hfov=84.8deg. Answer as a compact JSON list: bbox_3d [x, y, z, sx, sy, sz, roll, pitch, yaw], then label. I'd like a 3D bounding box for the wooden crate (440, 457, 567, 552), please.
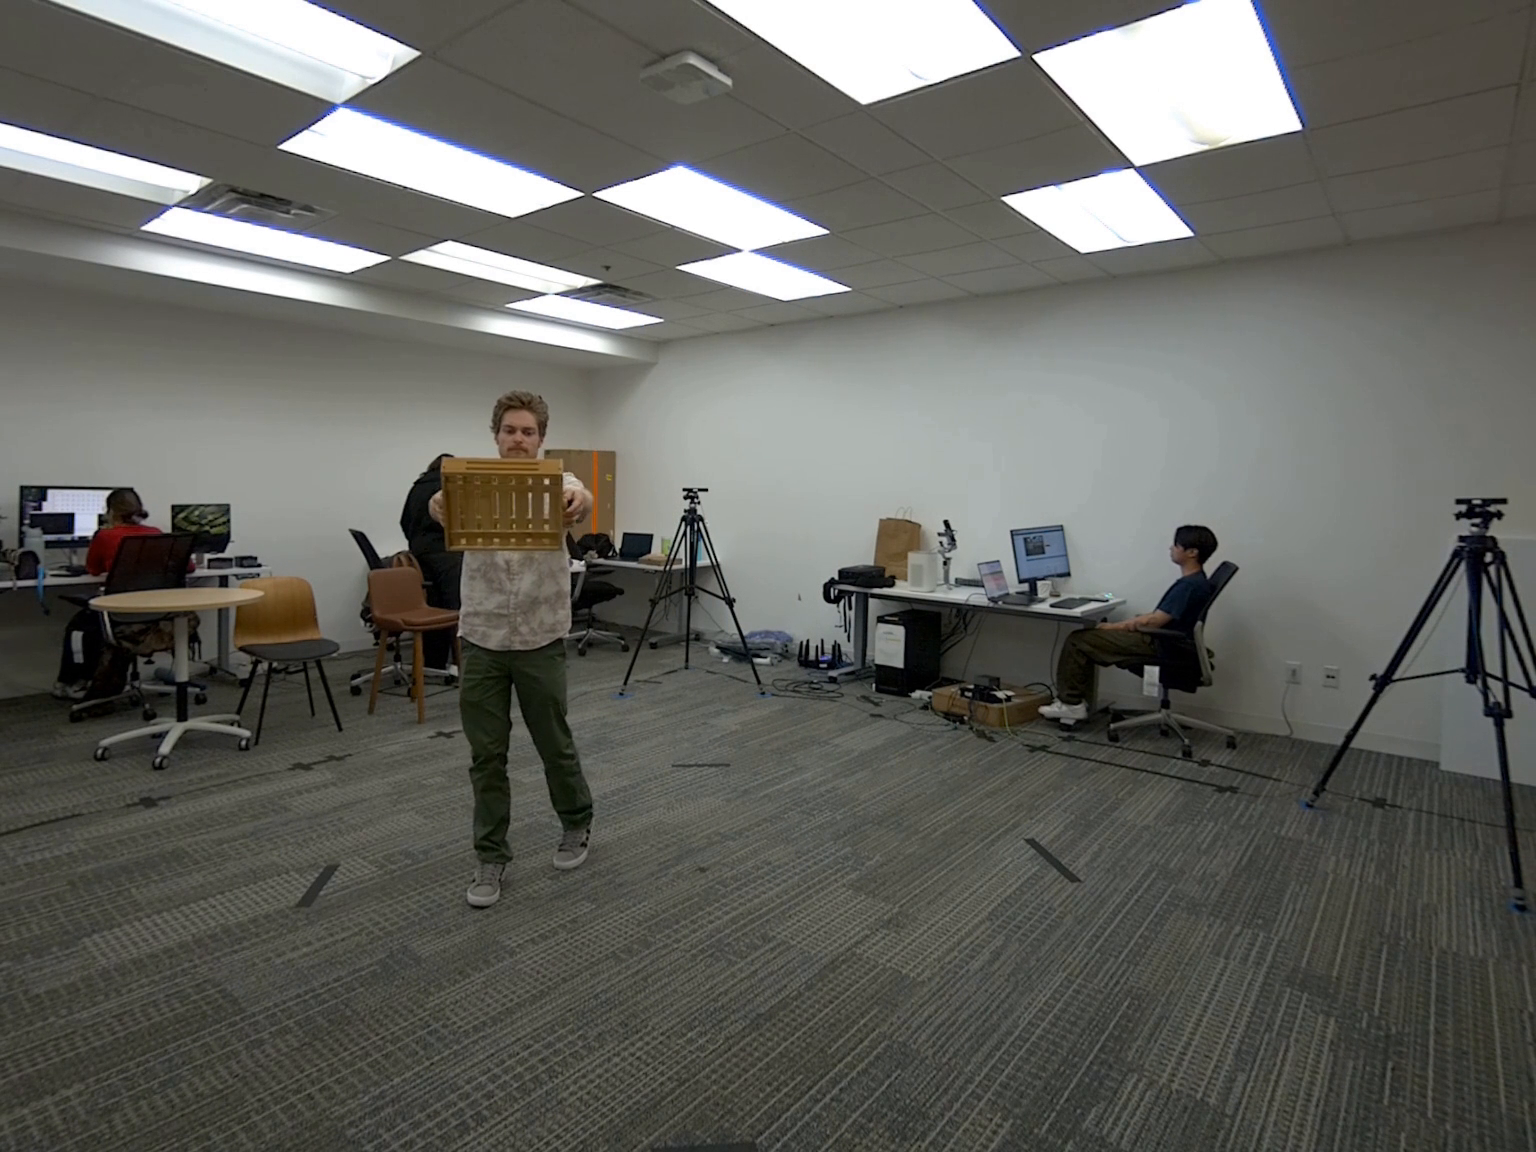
[{"bbox_3d":[-0.735,-0.224,2.318,0.320,0.296,0.283,0,31,-14],"label":"wooden crate"}]
